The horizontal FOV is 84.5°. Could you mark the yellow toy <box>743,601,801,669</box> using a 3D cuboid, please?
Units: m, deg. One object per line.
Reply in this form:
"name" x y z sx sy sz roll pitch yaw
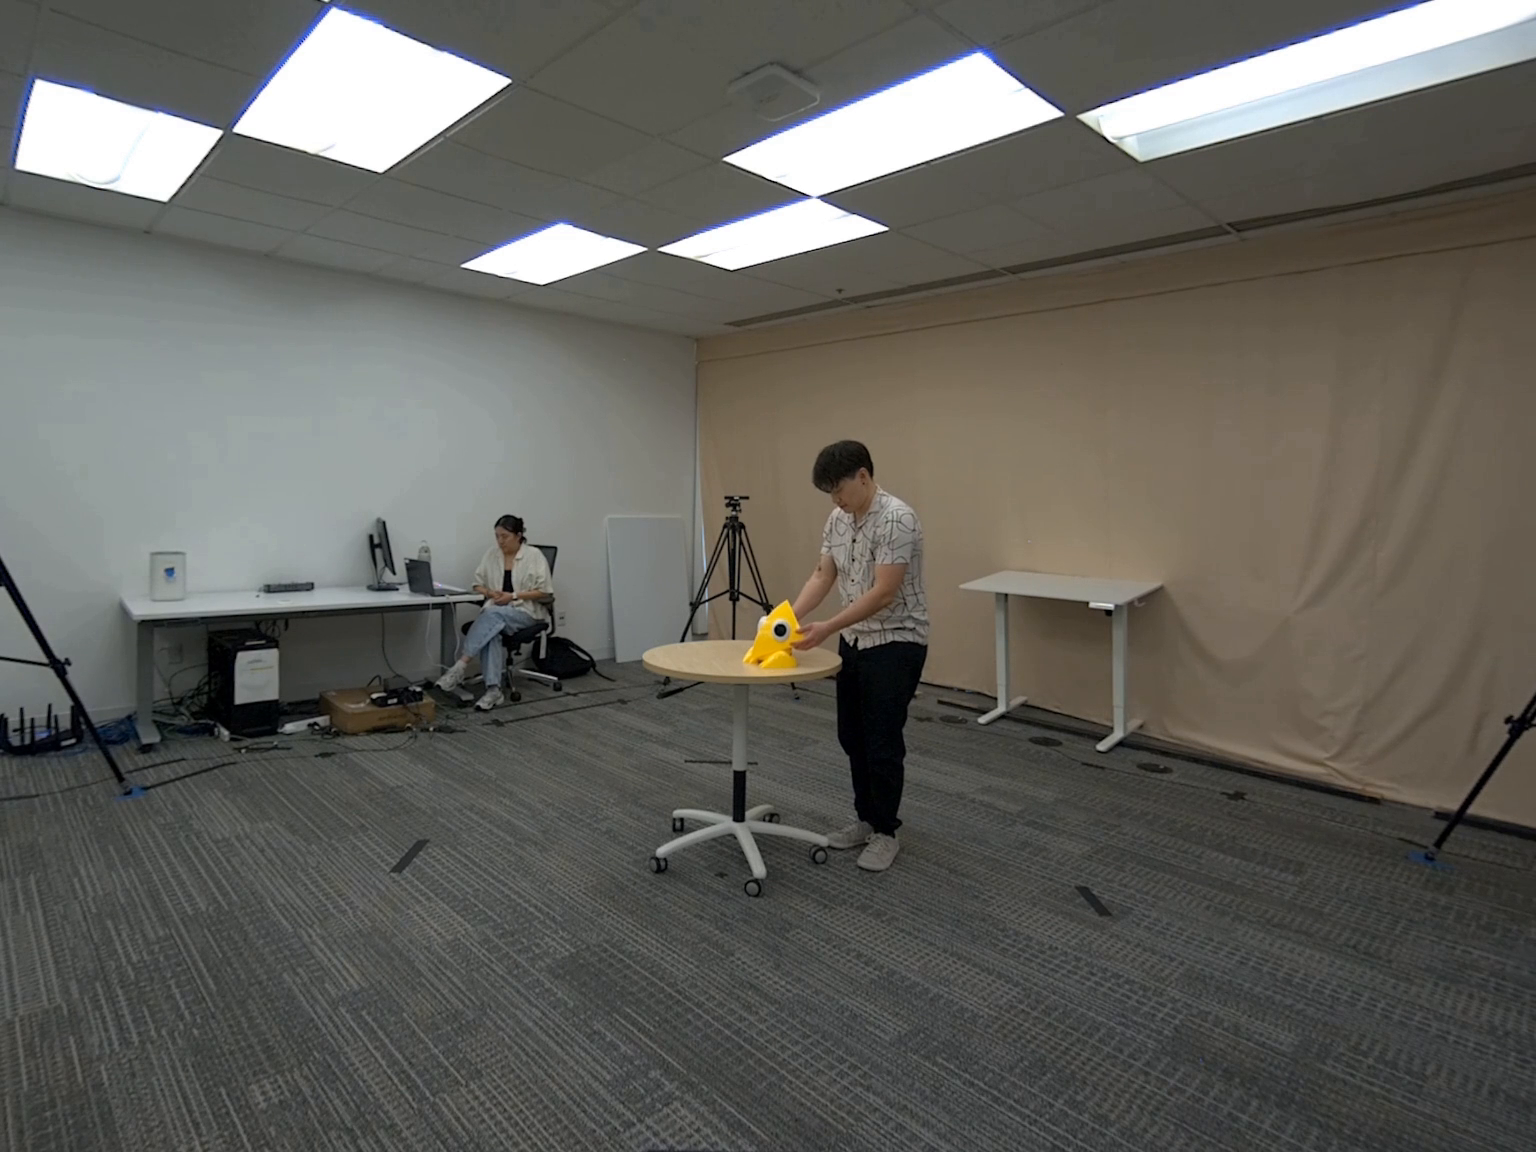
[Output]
"yellow toy" 0.010 0.210 3.107 0.189 0.230 0.209 -2 4 -31
